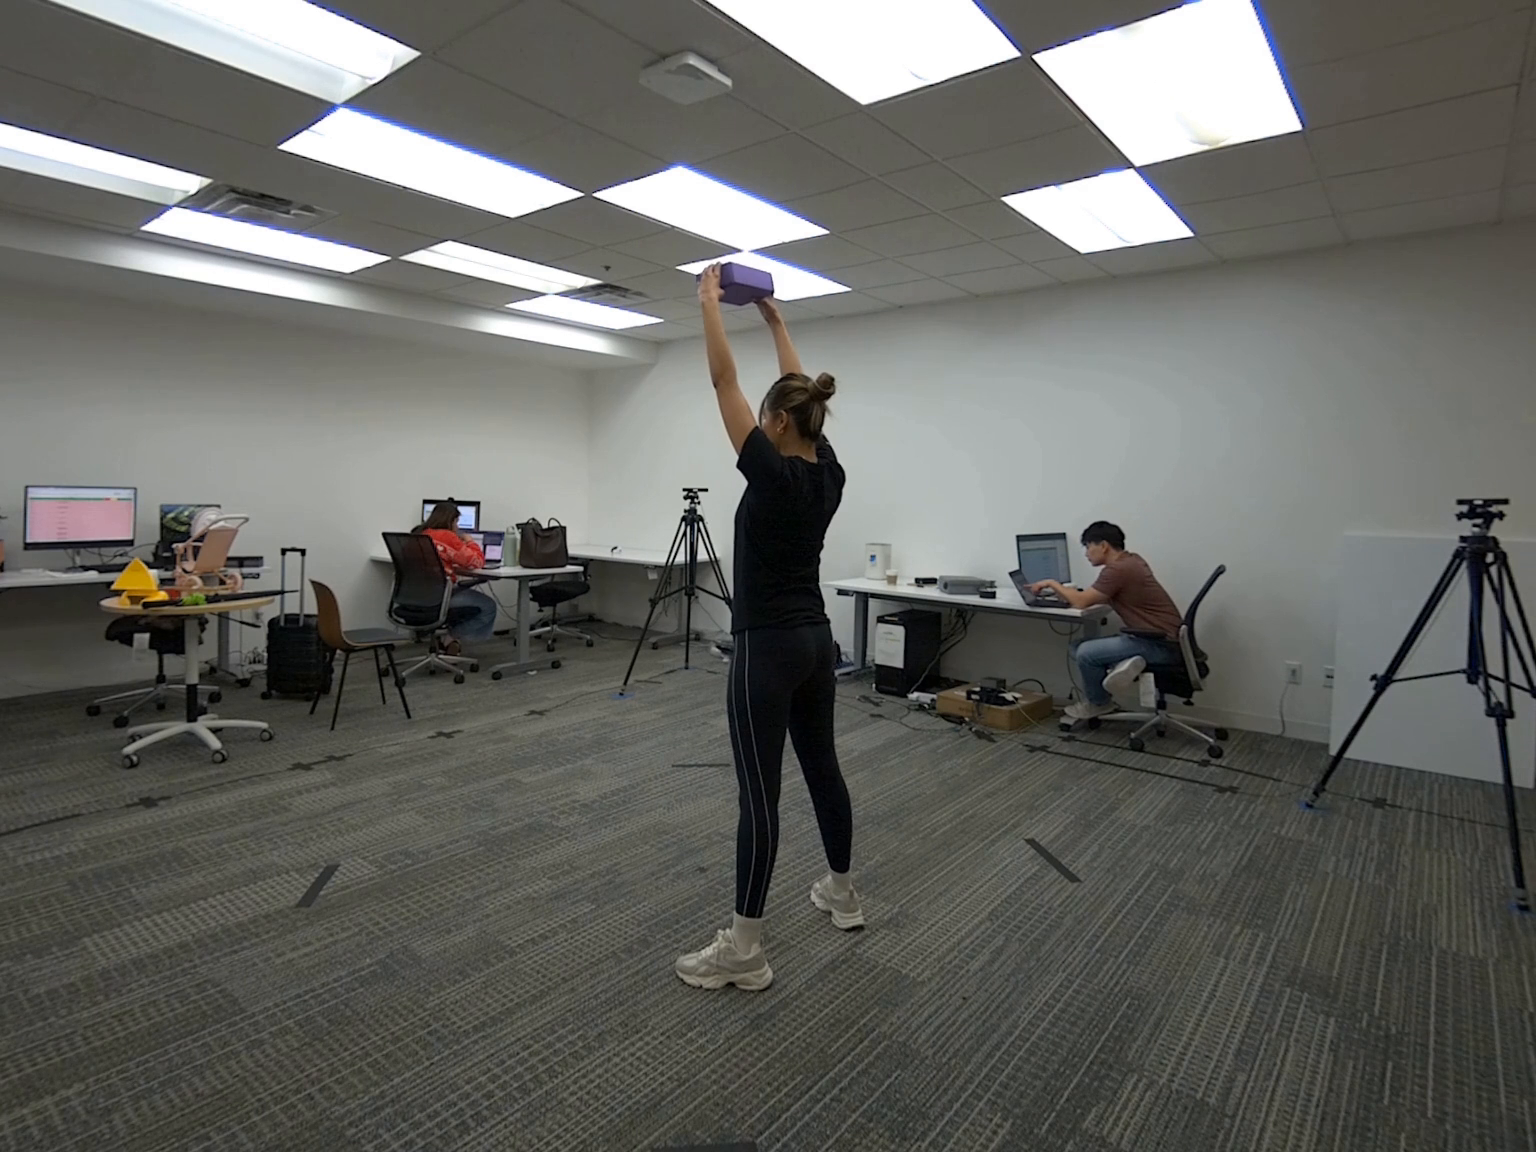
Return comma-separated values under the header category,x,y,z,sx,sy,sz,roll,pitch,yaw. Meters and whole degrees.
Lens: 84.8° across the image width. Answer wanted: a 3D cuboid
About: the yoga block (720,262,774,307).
category,x,y,z,sx,sy,sz,roll,pitch,yaw
yoga block,-0.112,-0.919,2.673,0.153,0.076,0.223,-10,1,39
